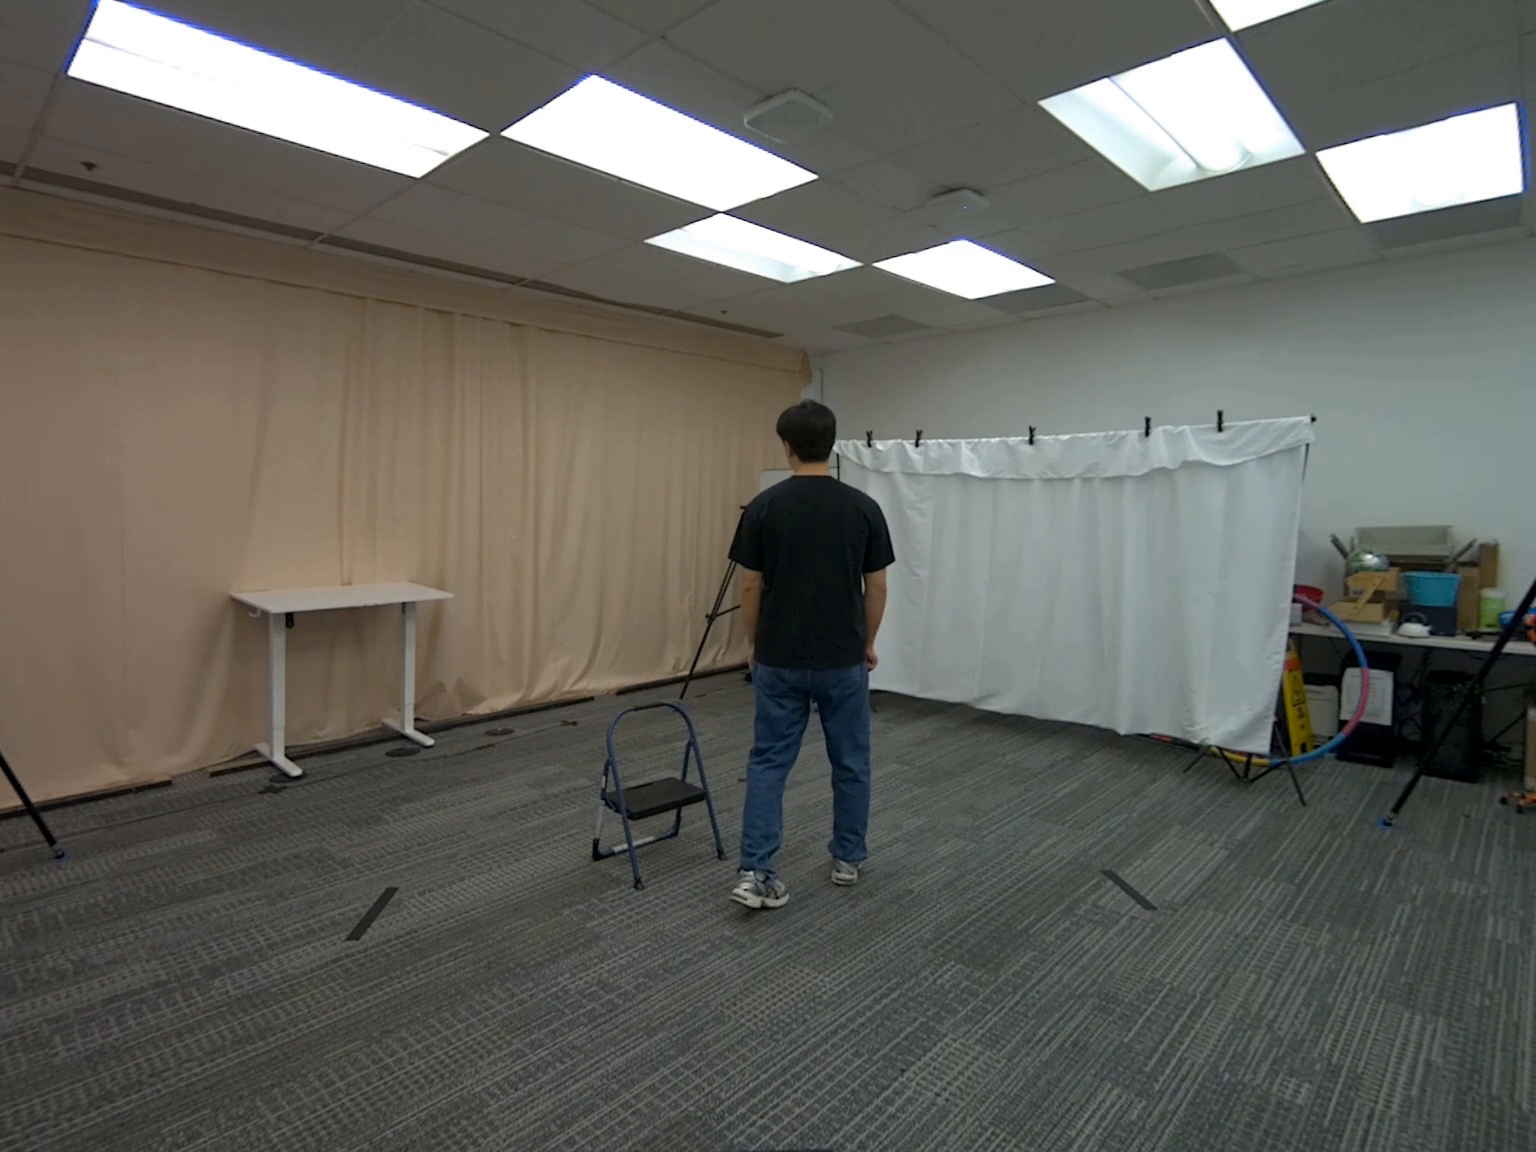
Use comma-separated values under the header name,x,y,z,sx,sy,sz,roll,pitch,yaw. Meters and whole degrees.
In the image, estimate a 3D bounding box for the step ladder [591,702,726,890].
name,x,y,z,sx,sy,sz,roll,pitch,yaw
step ladder,-0.435,0.817,3.313,0.417,0.605,0.361,-4,4,-41
